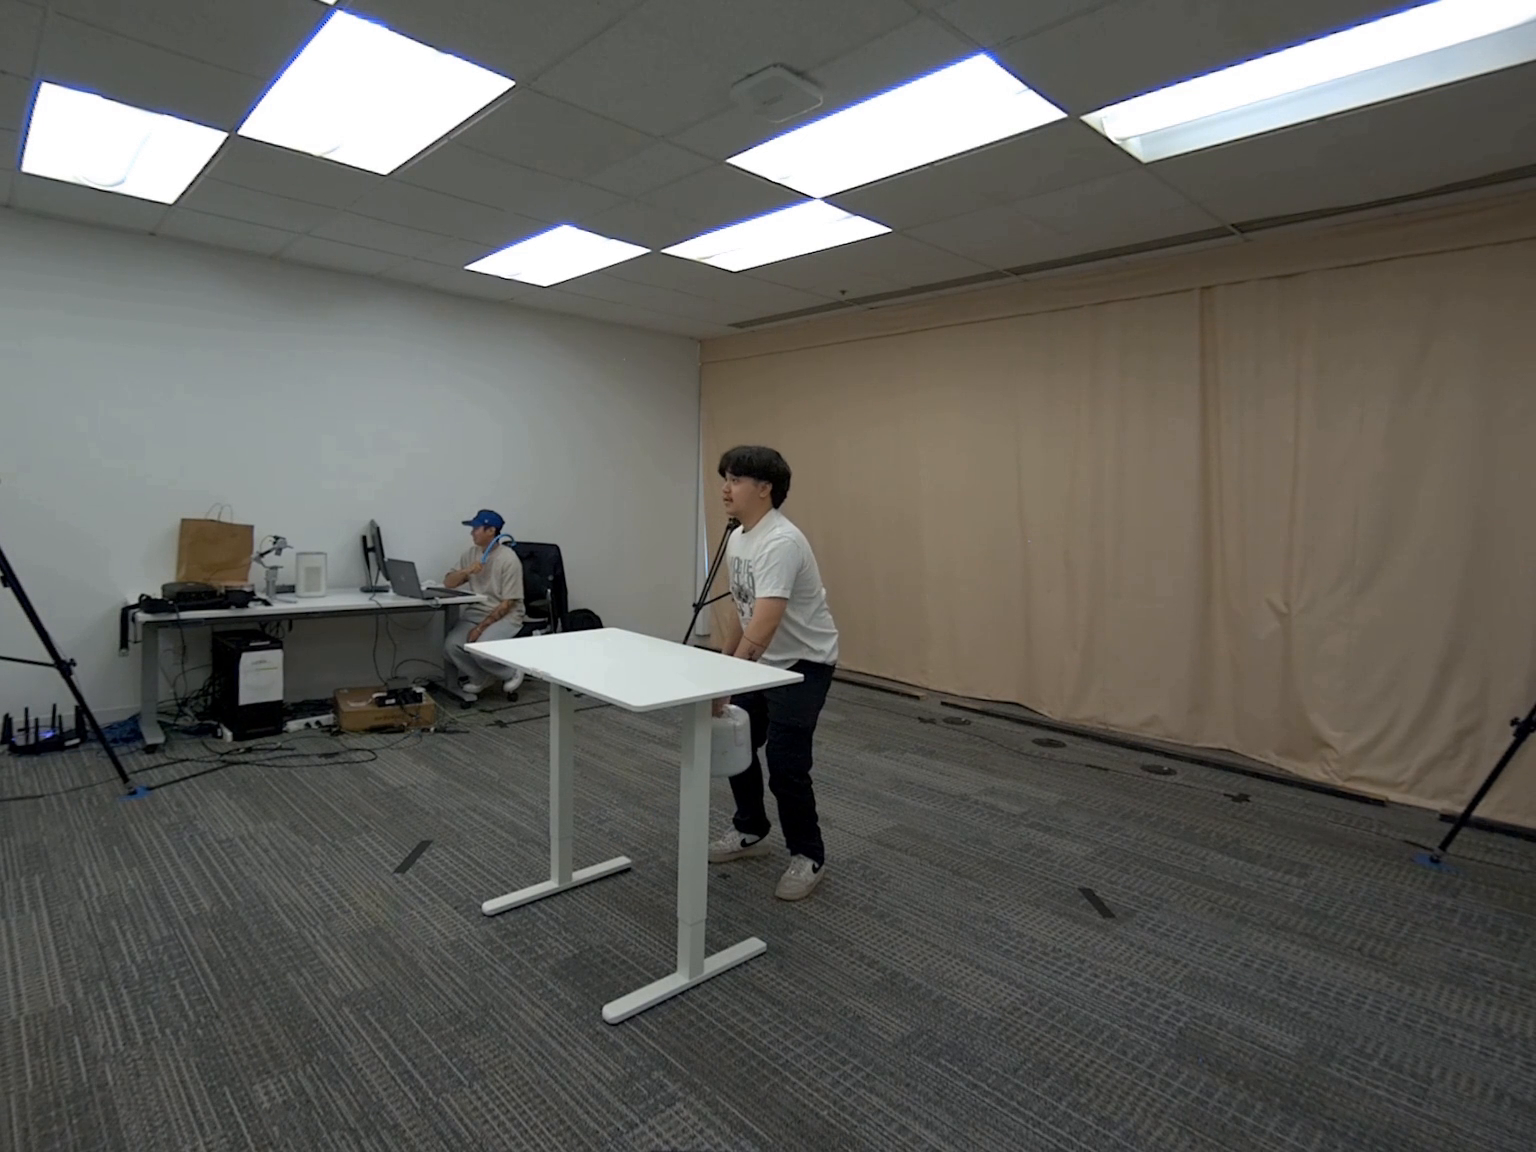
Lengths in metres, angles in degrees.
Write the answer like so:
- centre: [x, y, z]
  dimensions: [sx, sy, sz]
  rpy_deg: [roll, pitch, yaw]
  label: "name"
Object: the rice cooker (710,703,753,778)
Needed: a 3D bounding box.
- centre: [-0.168, 0.560, 2.906]
  dimensions: [0.213, 0.231, 0.226]
  rpy_deg: [-9, 10, -42]
  label: "rice cooker"
